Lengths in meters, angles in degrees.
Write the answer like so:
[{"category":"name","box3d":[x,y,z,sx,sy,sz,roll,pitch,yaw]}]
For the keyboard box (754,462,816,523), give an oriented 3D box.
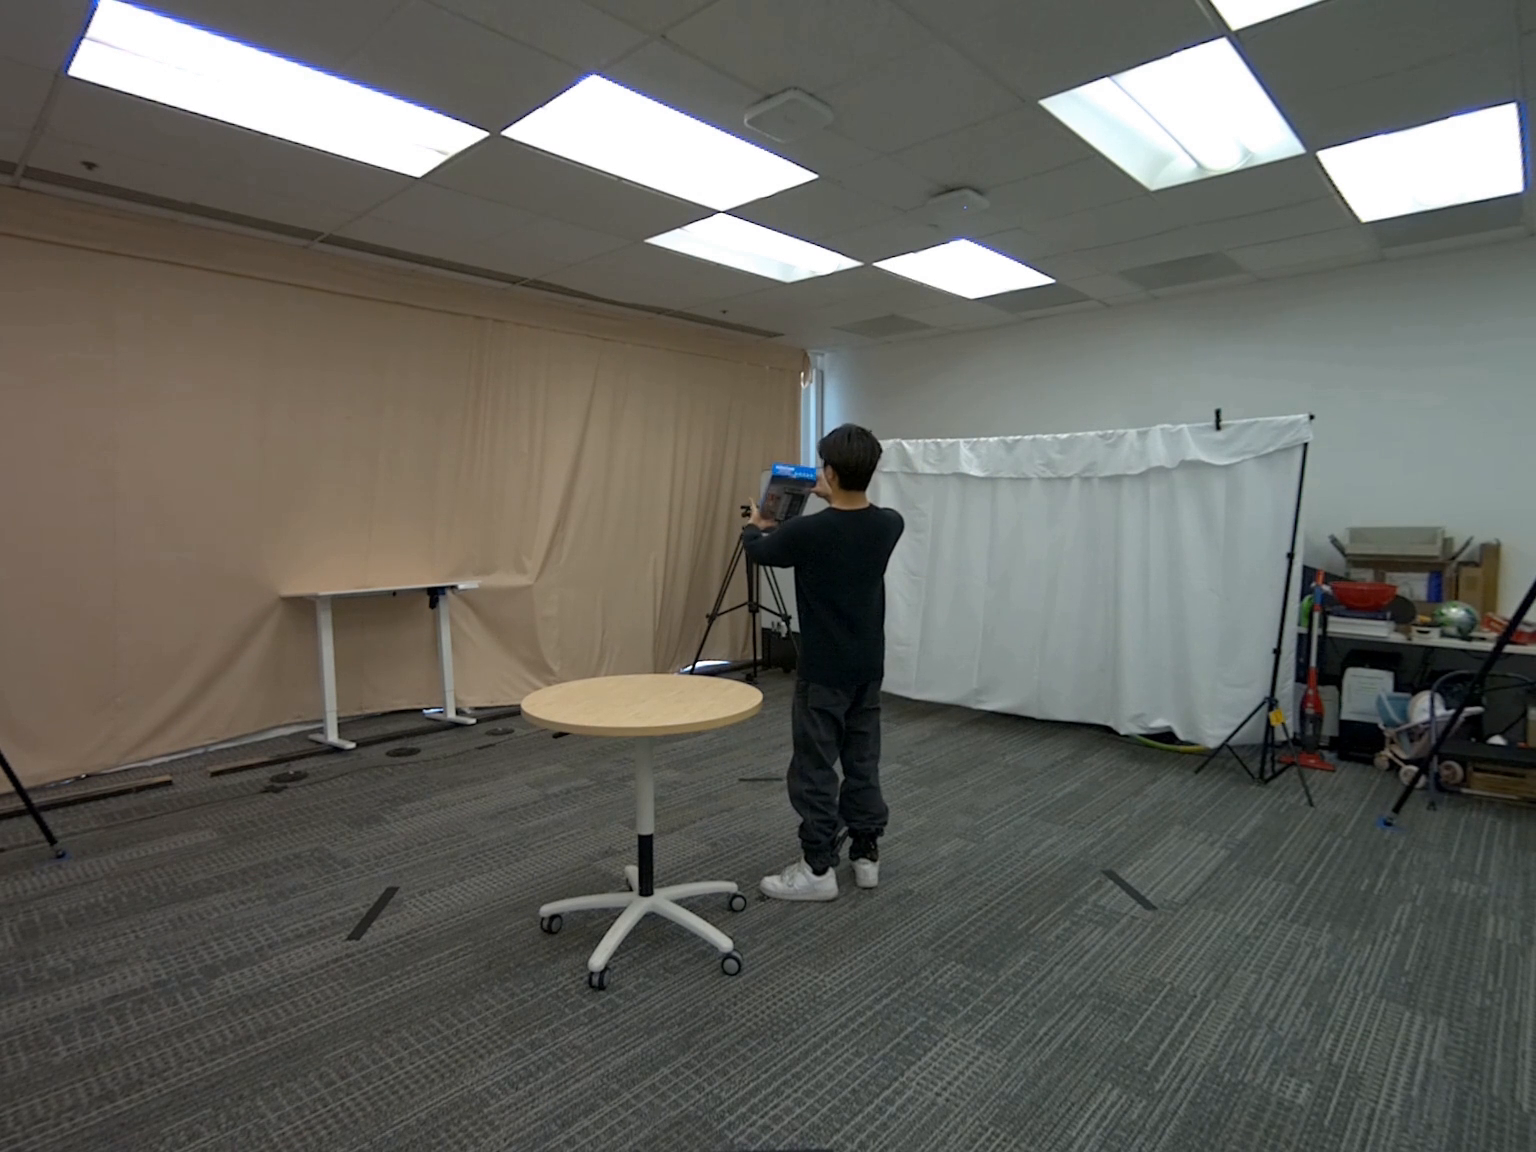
[{"category":"keyboard box","box3d":[0.055,-0.300,3.435,0.175,0.060,0.434,9,-29,-6]}]
